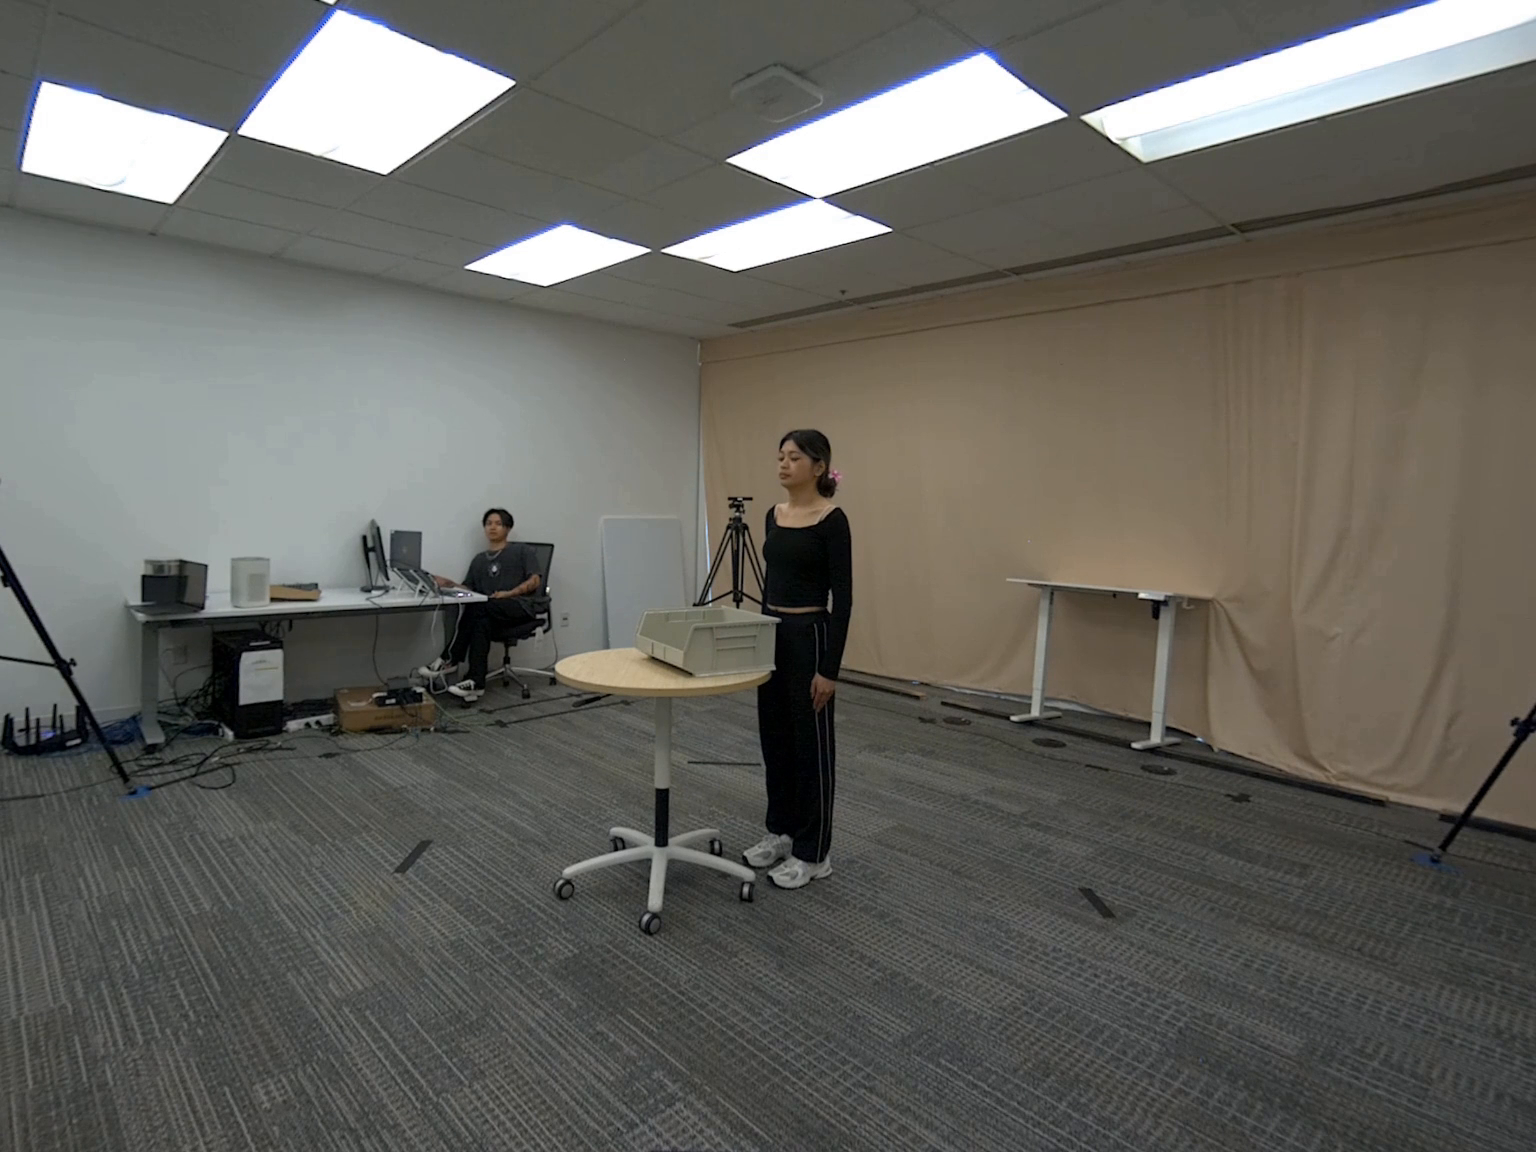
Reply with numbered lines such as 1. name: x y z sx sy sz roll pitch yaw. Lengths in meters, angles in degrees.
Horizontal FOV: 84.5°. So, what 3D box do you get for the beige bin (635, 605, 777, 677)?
1. beige bin: -0.235 0.227 3.021 0.369 0.188 0.432 0 5 -31
